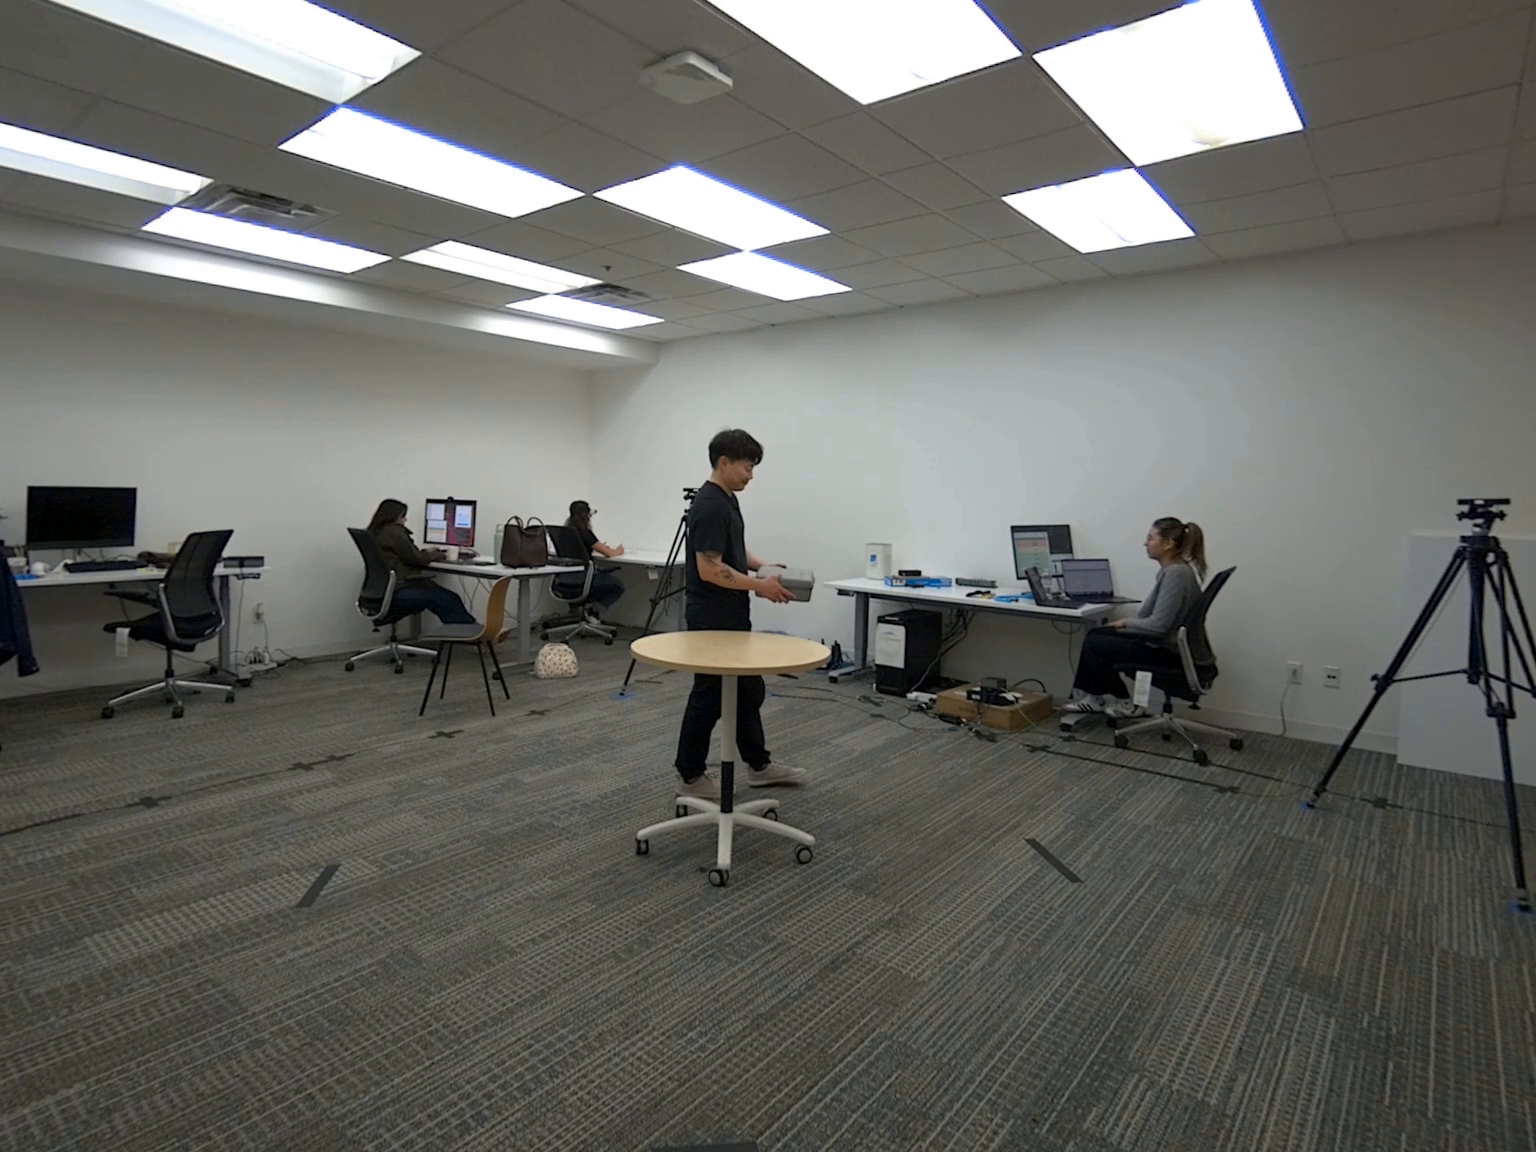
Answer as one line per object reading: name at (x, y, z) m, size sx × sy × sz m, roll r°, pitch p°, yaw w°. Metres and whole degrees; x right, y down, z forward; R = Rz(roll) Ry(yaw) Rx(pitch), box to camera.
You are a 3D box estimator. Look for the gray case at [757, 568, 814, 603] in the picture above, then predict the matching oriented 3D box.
gray case at (0.071, 0.032, 3.813) m, size 0.262 × 0.103 × 0.258 m, roll 3°, pitch 11°, yaw 4°
